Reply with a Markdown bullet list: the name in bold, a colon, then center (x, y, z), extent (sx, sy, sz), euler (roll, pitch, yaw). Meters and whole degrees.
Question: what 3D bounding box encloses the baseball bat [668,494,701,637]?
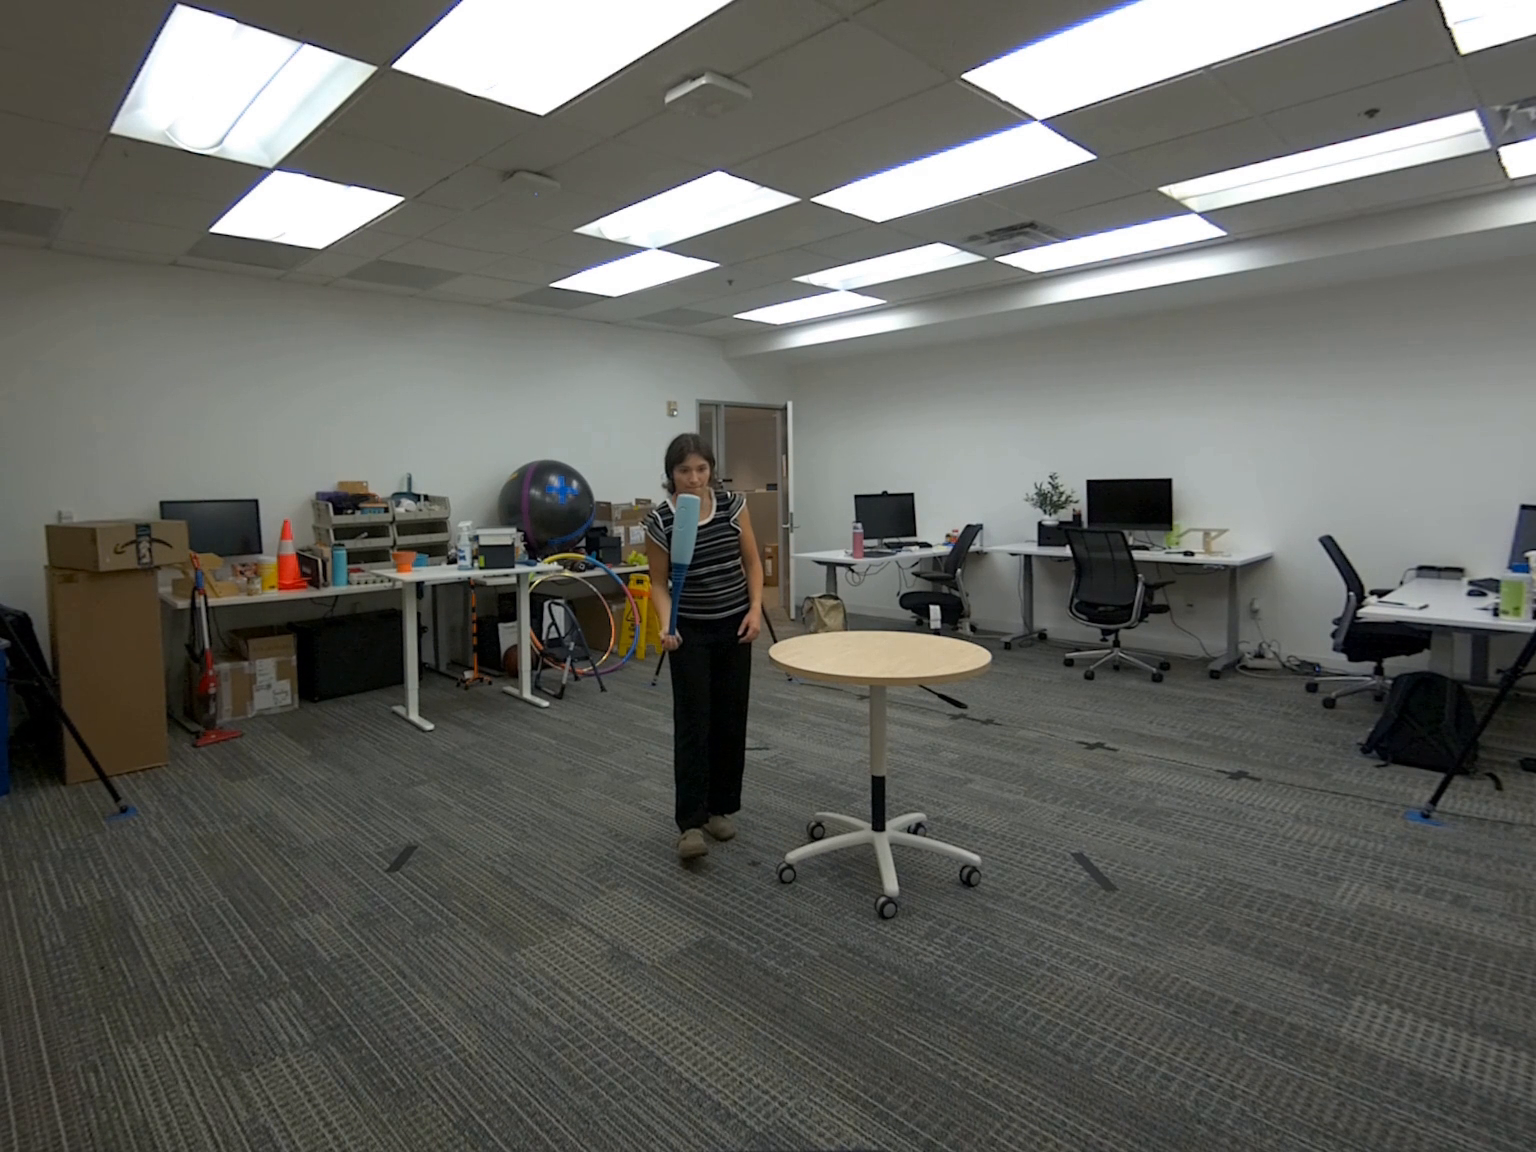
- **baseball bat**: center (-0.317, -0.024, 3.100), extent (0.089, 0.542, 0.089), euler (6, 1, -2)
